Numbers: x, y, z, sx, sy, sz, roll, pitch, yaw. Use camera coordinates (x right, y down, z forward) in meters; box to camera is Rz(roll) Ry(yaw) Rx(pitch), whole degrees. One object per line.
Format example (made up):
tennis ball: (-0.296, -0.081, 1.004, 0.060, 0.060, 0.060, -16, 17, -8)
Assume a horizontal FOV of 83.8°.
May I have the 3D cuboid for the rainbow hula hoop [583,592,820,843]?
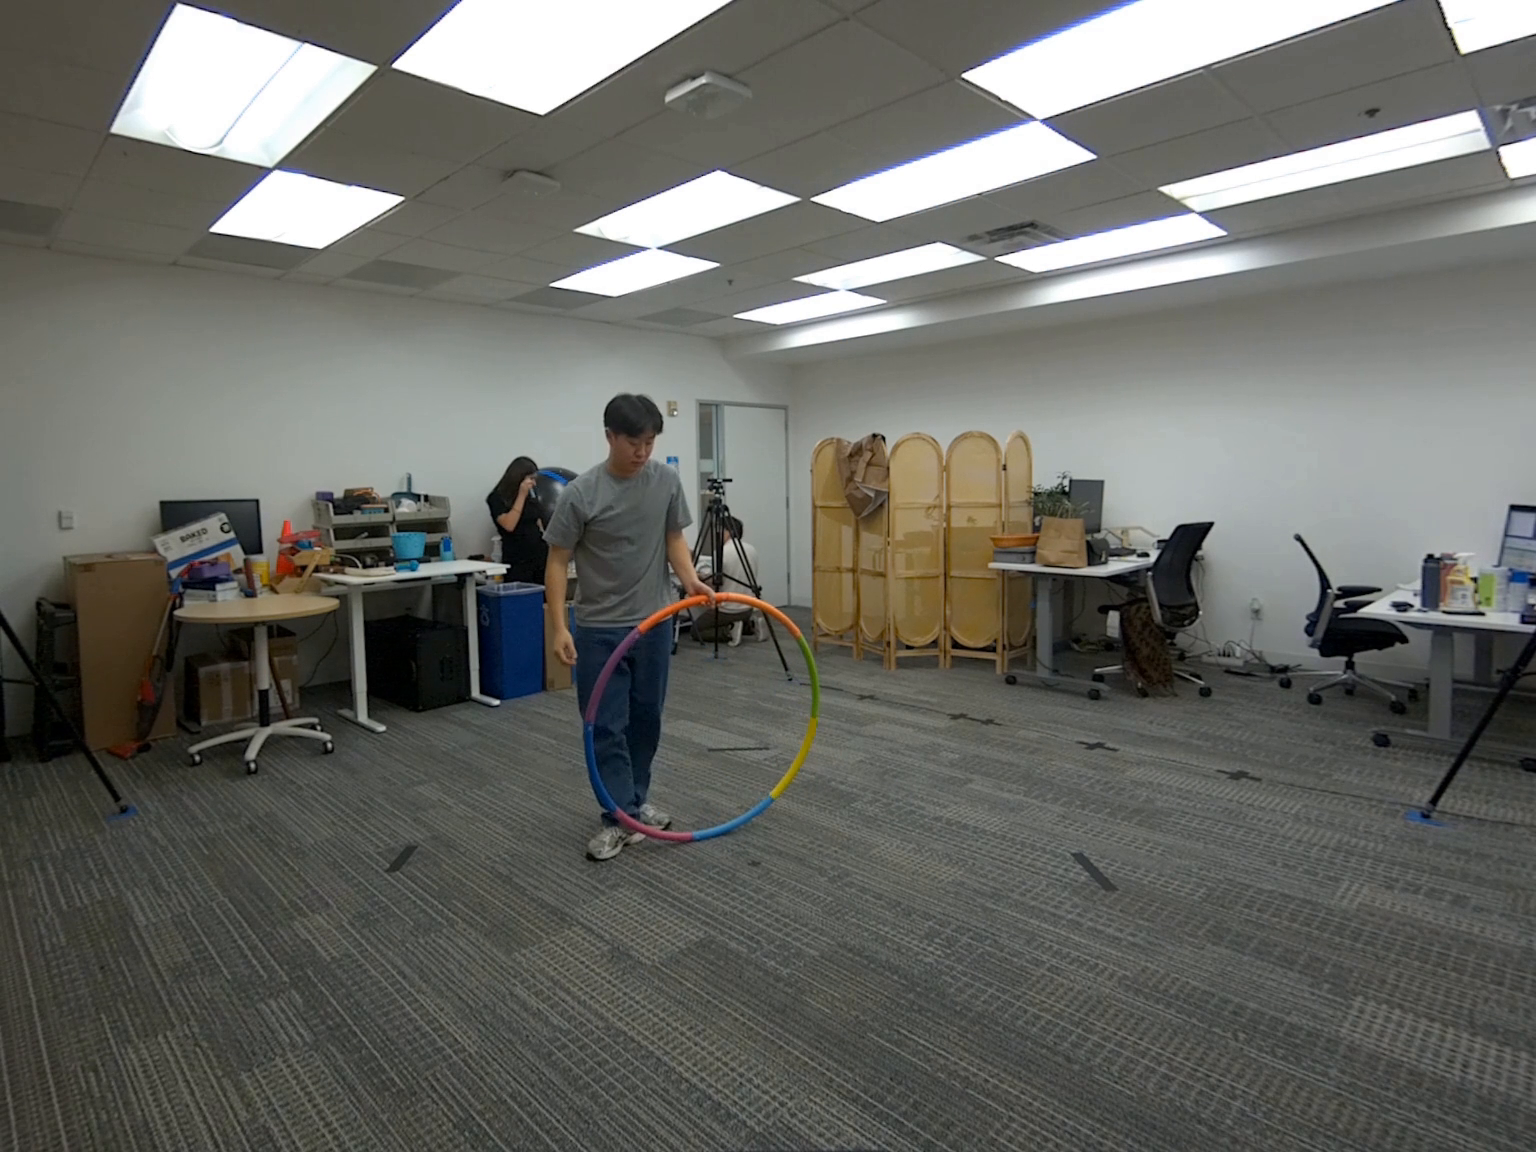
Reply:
rainbow hula hoop: (-0.222, 0.541, 3.267, 0.957, 0.971, 0.036, -3, 10, -27)
